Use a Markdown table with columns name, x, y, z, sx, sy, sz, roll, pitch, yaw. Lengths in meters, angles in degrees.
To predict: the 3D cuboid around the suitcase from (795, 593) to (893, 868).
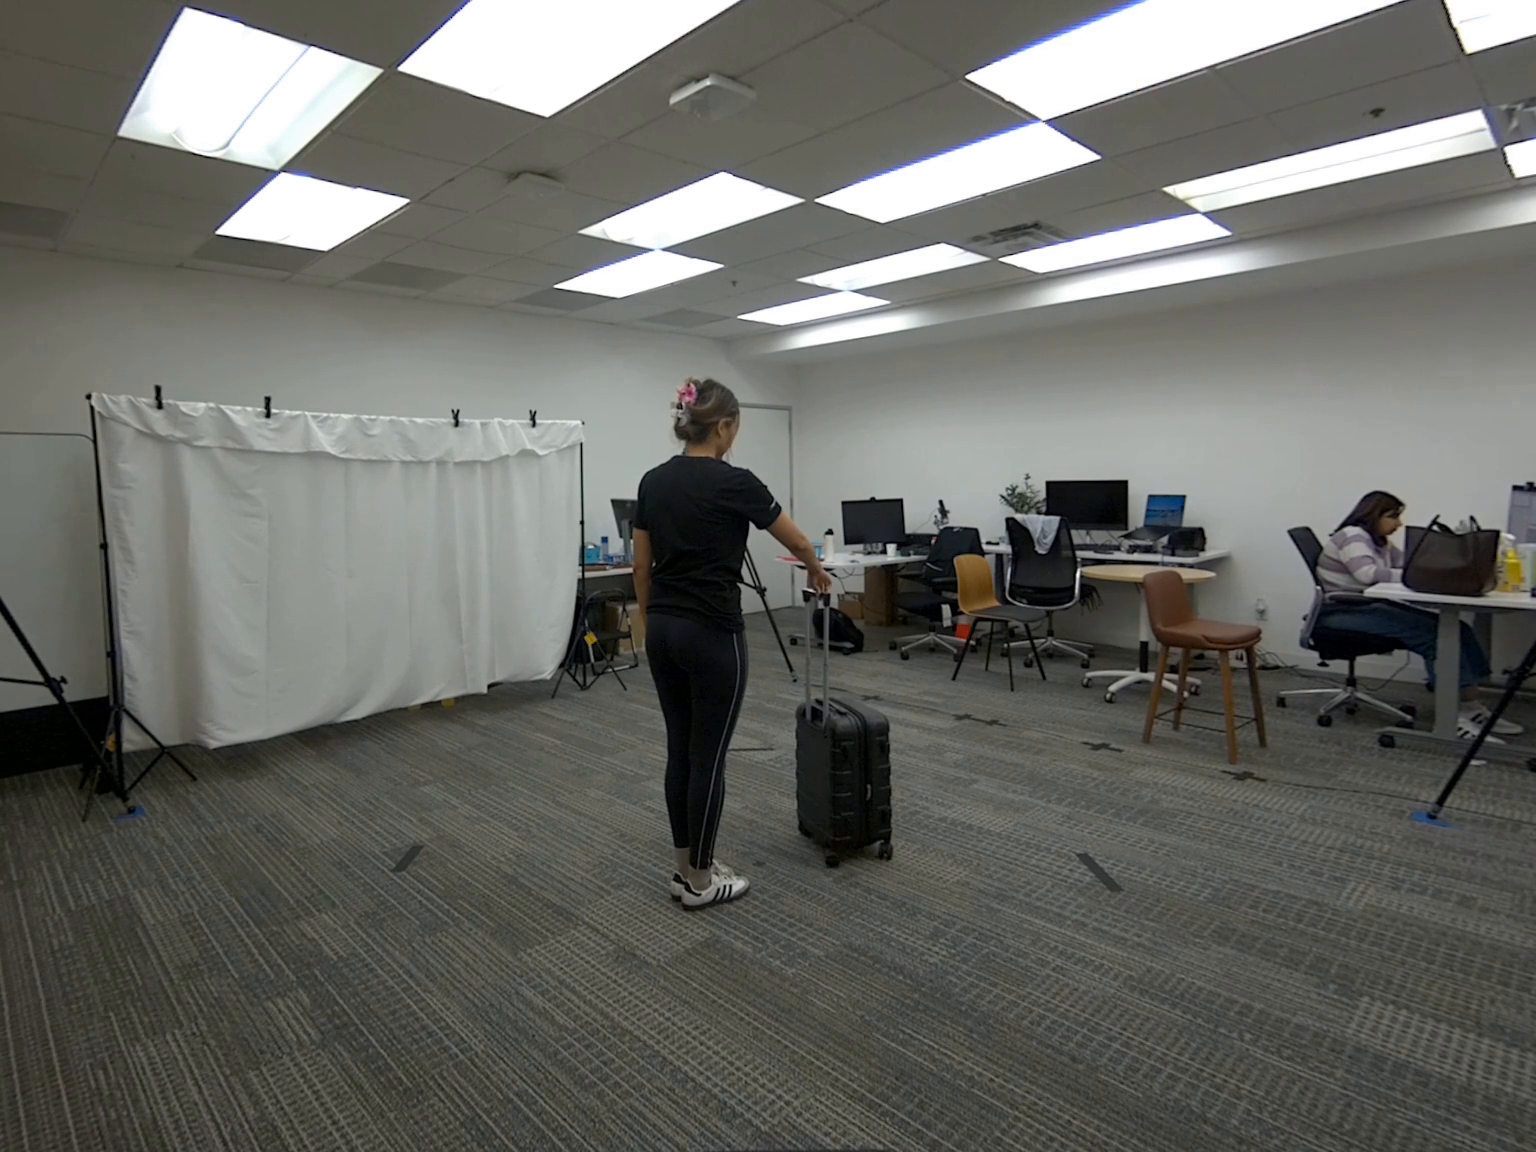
| name | x | y | z | sx | sy | sz | roll | pitch | yaw |
| --- | --- | --- | --- | --- | --- | --- | --- | --- | --- |
| suitcase | 0.286 | 0.552 | 3.231 | 0.253 | 0.975 | 0.392 | 0 | 4 | -19 |
